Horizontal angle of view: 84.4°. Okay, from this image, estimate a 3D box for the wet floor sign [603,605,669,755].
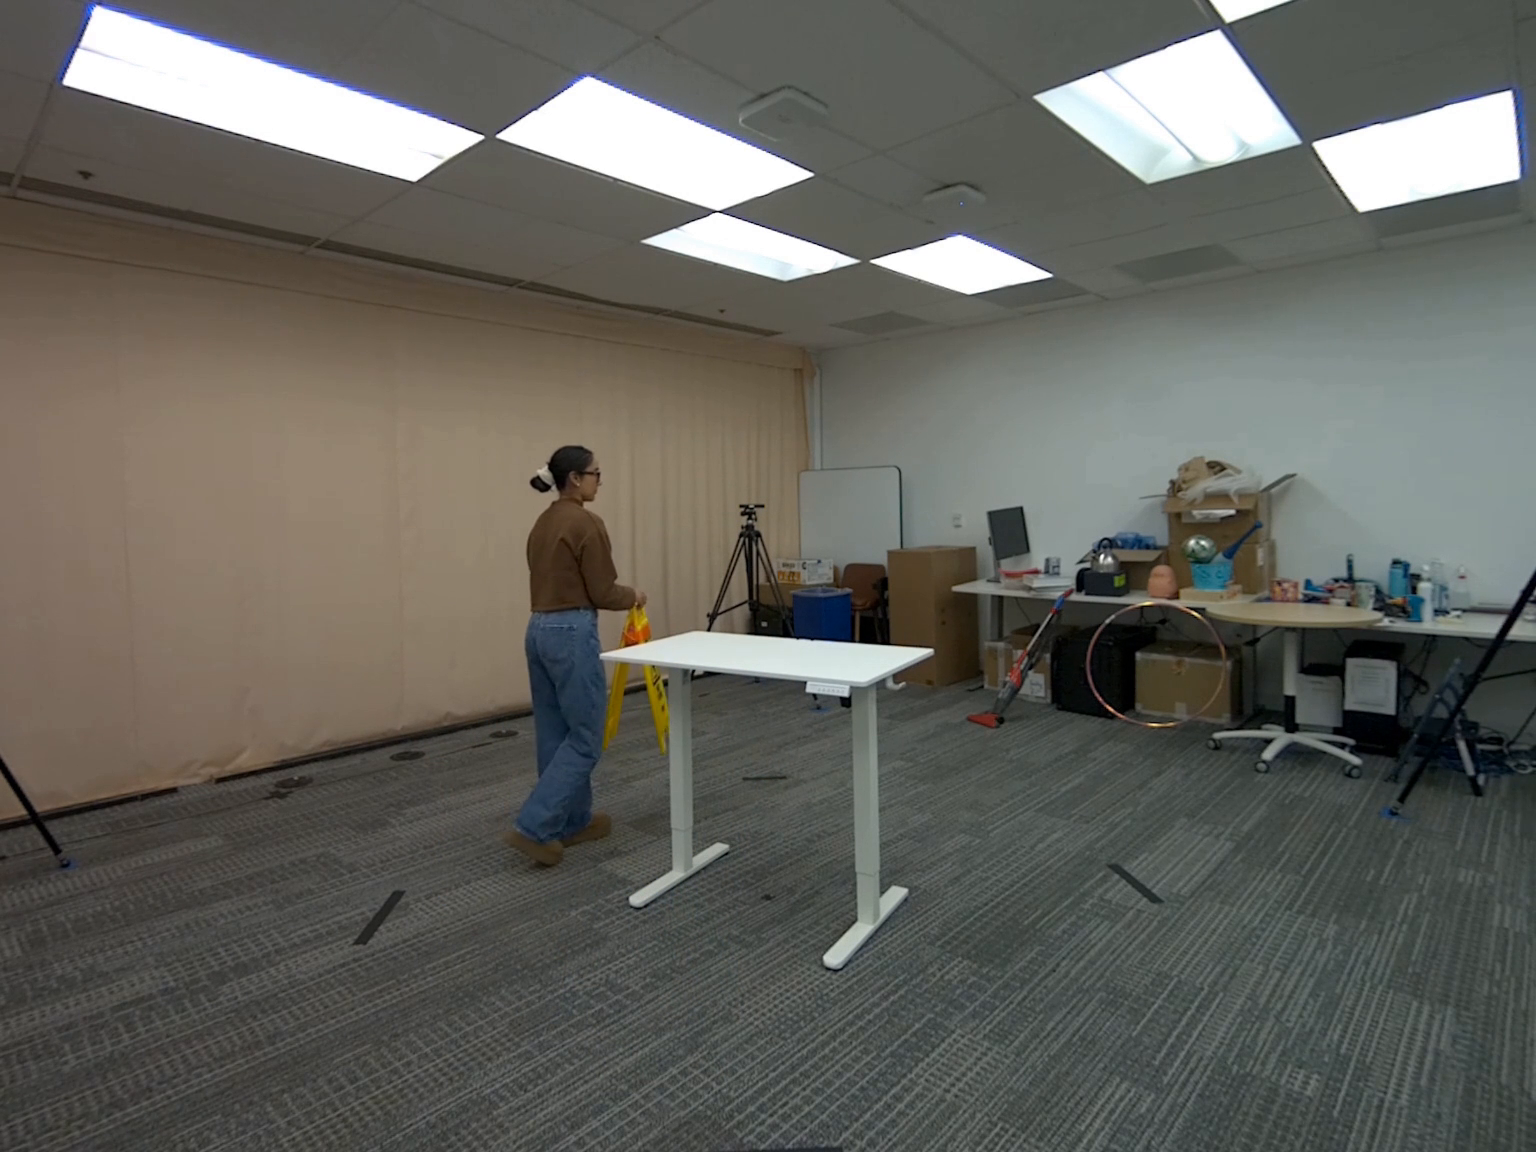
[{"bbox_3d":[-0.575,0.423,3.665,0.291,0.645,0.281,-1,3,4],"label":"wet floor sign"}]
